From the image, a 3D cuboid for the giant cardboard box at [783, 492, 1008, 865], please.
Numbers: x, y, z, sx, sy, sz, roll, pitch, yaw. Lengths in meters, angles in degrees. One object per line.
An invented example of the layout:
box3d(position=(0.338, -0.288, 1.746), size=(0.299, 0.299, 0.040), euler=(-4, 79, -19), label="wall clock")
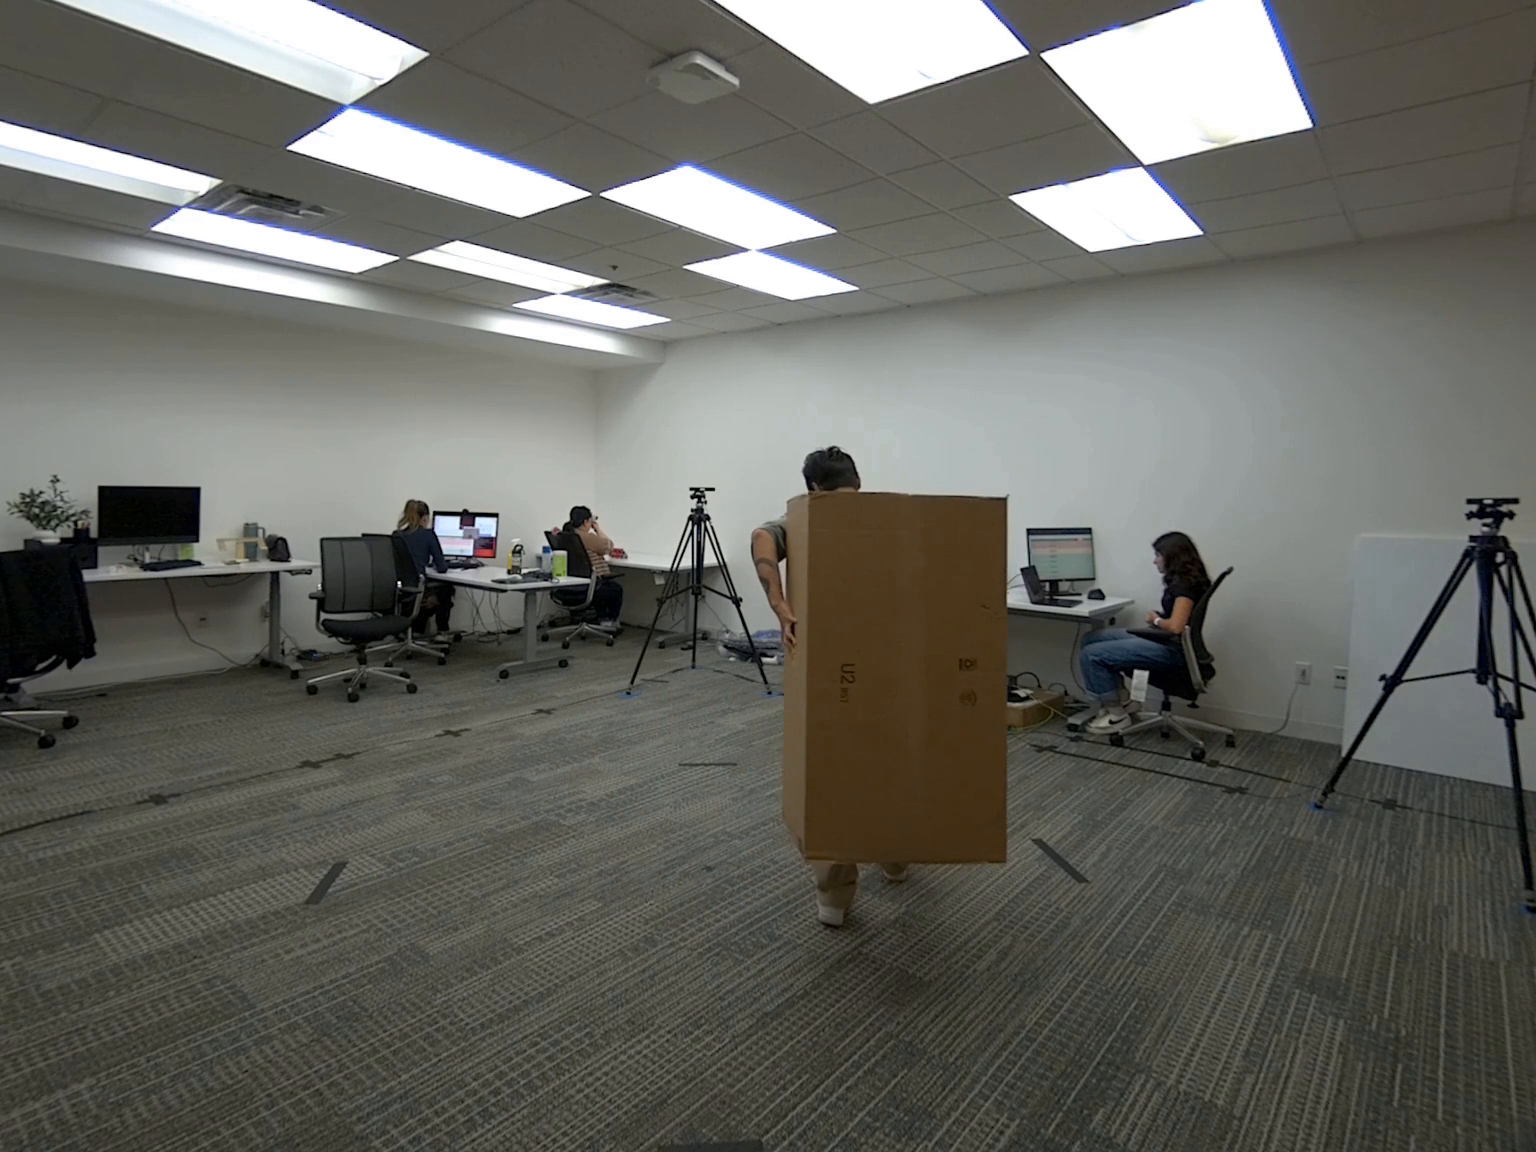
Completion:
box3d(position=(0.366, 0.276, 2.553), size=(0.575, 1.027, 0.428), euler=(1, -1, -5), label="giant cardboard box")
